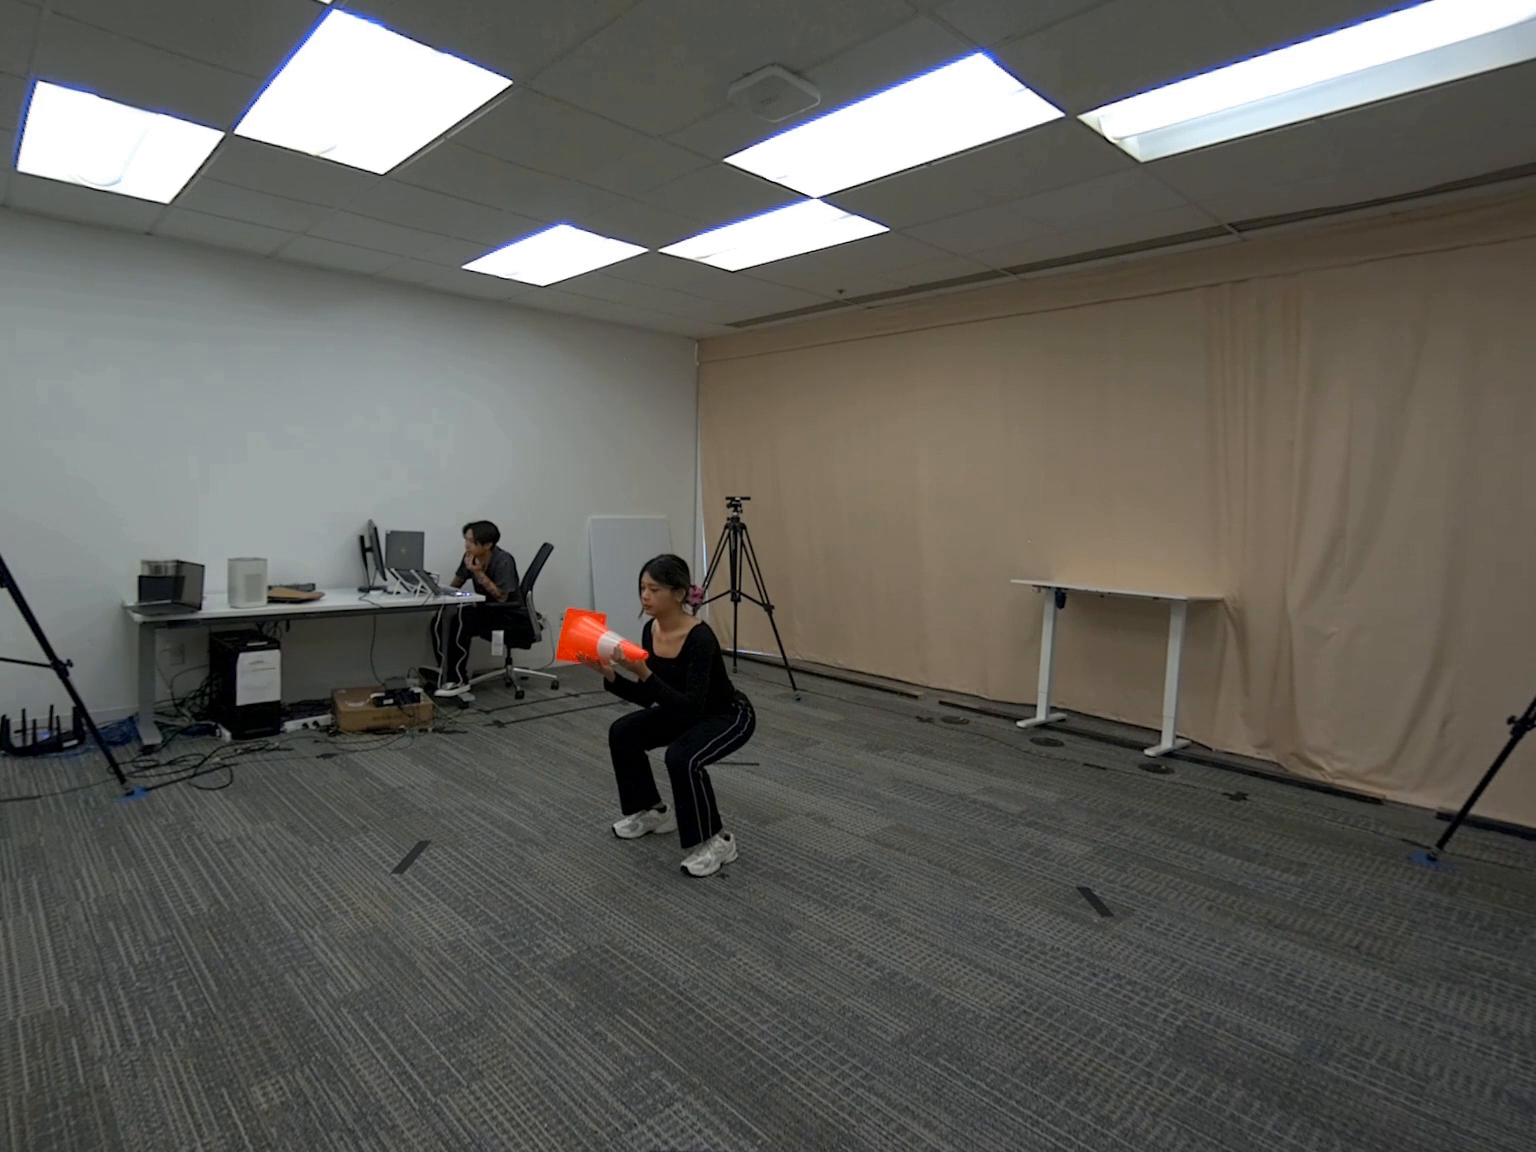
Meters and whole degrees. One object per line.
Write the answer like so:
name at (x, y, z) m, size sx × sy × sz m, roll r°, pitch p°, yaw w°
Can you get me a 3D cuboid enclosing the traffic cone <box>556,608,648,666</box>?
traffic cone at (-0.572, 0.250, 3.045) m, size 0.394 × 0.205 × 0.197 m, roll 9°, pitch -7°, yaw 42°
